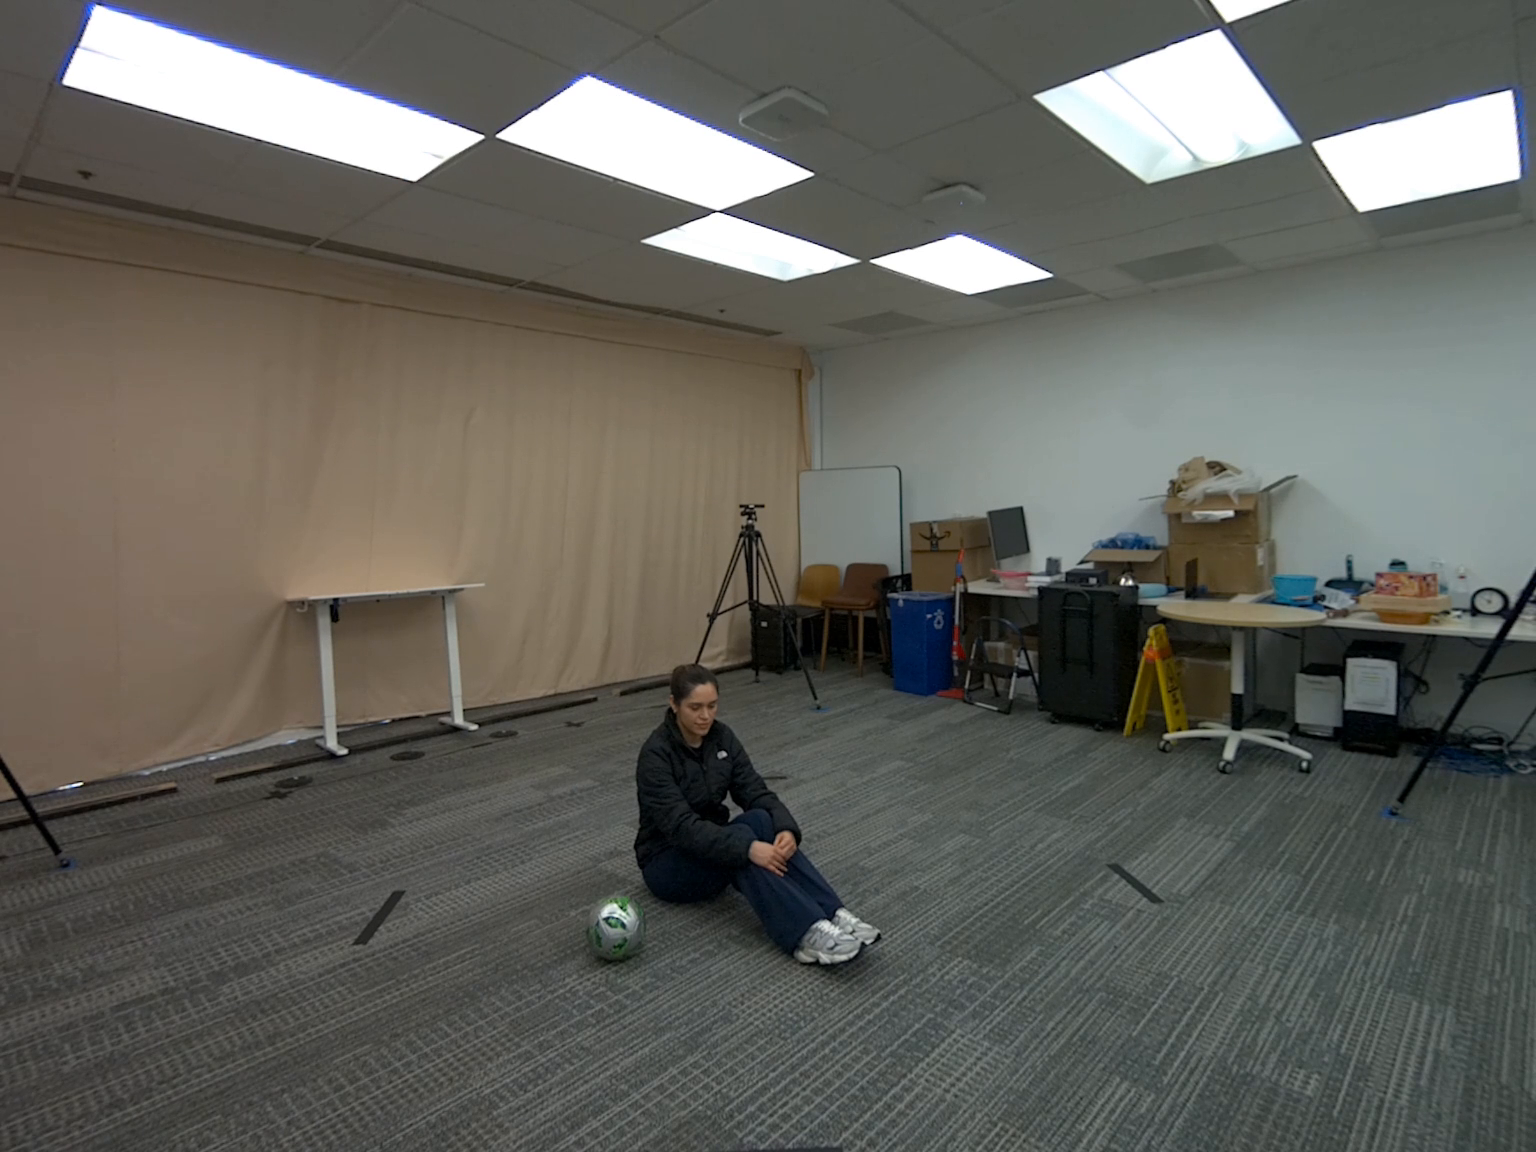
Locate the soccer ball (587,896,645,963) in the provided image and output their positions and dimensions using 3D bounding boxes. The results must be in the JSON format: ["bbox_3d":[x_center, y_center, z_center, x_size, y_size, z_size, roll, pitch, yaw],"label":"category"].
[{"bbox_3d":[-0.466,1.084,2.618,0.187,0.187,0.188,2,5,-2],"label":"soccer ball"}]
